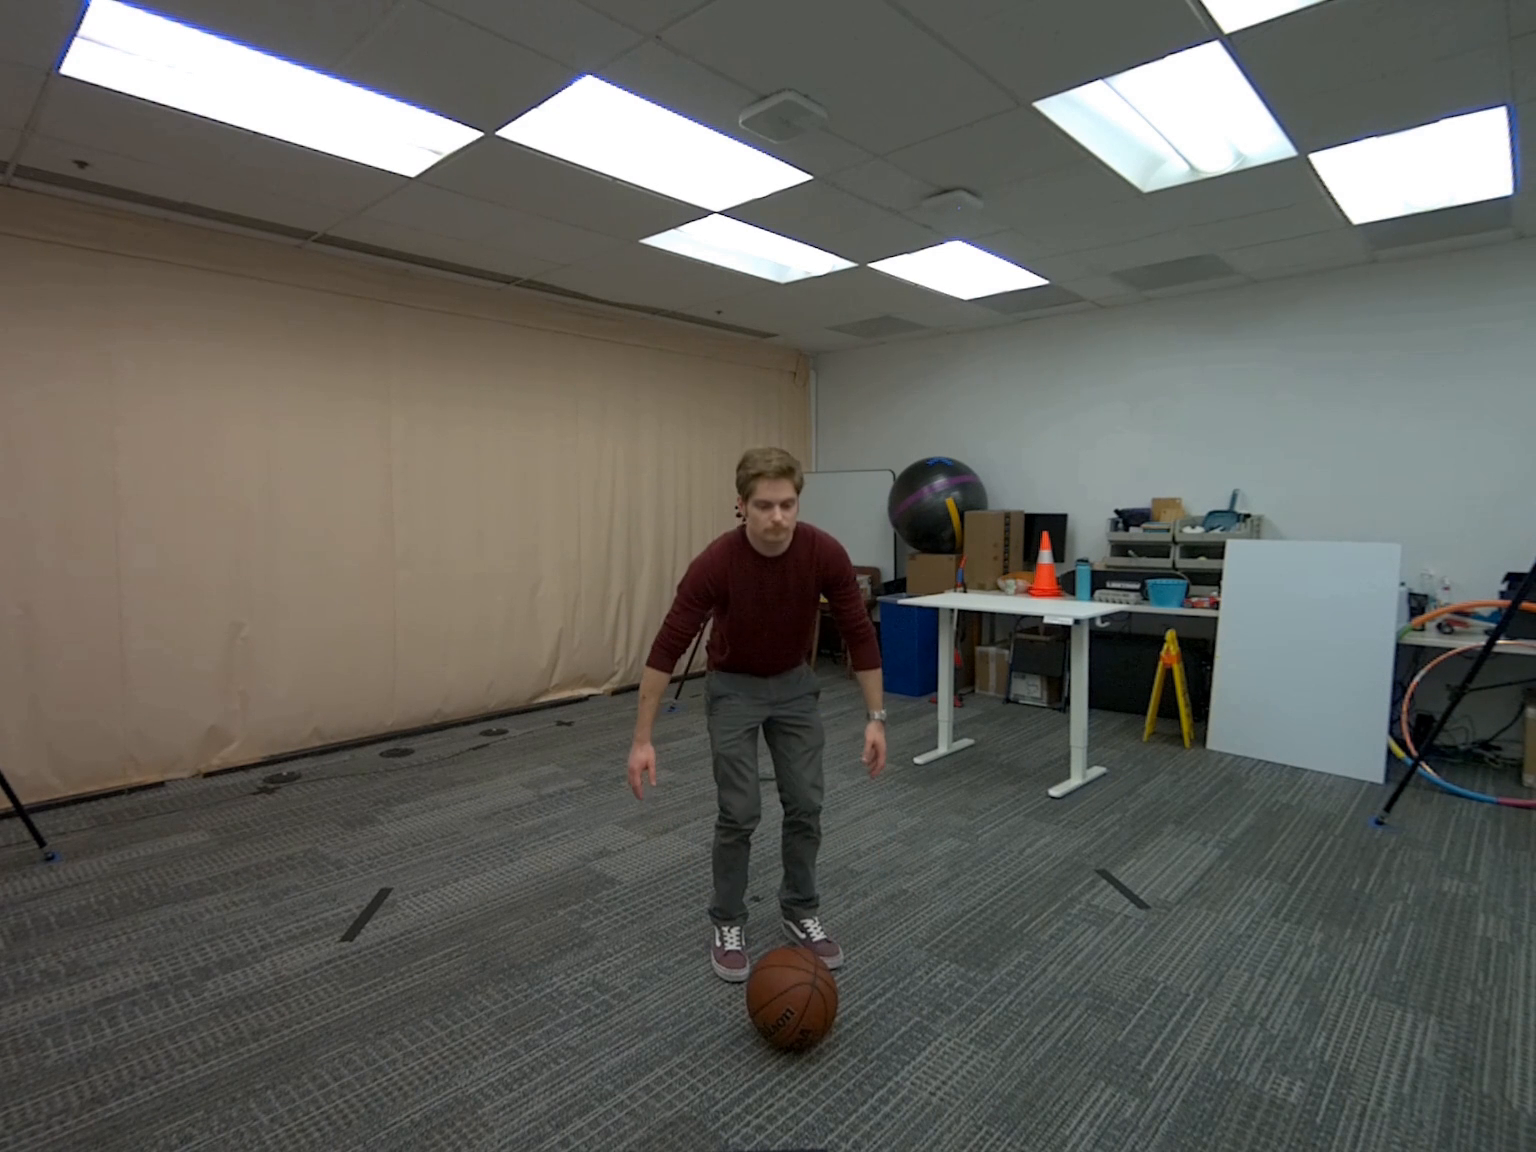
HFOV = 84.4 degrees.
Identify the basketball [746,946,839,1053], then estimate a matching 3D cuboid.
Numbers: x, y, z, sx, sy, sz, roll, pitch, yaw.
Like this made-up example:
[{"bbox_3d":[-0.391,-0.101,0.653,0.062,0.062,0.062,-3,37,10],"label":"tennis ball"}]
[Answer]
[{"bbox_3d":[0.060,1.085,2.189,0.236,0.235,0.237,0,4,-2],"label":"basketball"}]
